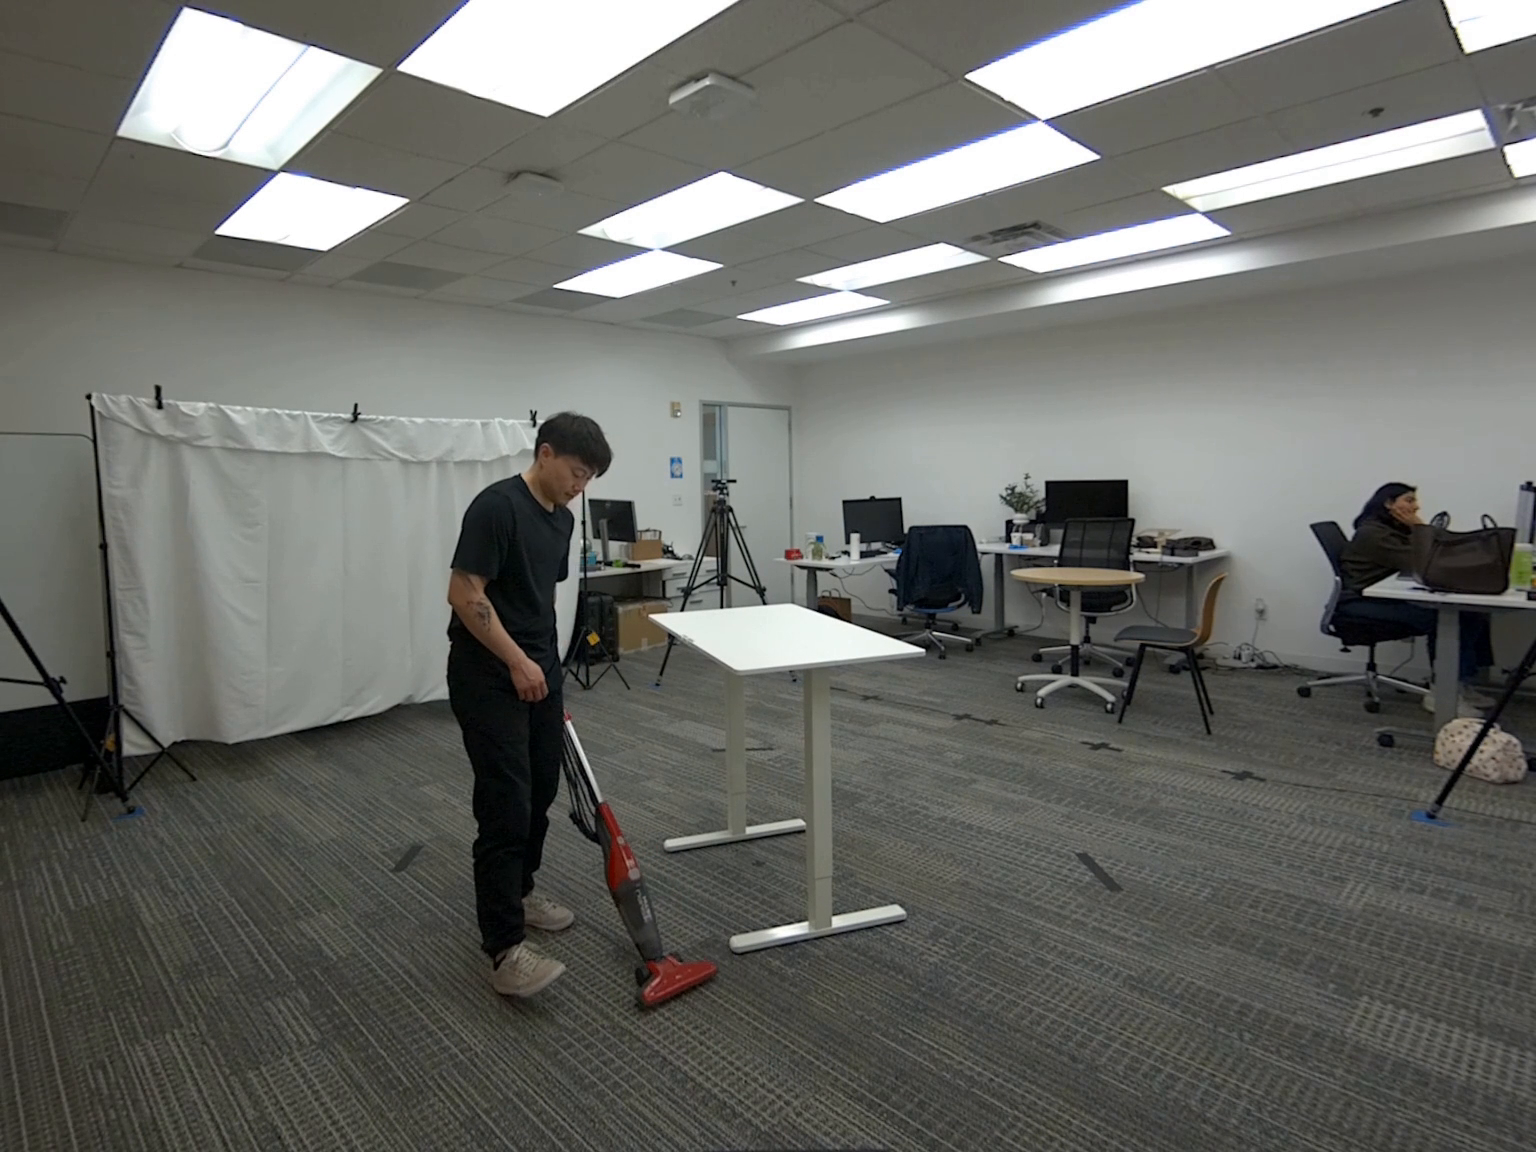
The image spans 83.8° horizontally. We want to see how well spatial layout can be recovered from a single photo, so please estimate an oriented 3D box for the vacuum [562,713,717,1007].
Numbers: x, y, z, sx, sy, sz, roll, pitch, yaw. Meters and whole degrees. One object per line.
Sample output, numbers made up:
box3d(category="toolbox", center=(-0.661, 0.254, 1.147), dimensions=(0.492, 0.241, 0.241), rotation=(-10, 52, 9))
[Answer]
box3d(category="vacuum", center=(-0.505, 0.736, 2.630), dimensions=(0.246, 0.143, 1.086), rotation=(-4, 48, -40))
